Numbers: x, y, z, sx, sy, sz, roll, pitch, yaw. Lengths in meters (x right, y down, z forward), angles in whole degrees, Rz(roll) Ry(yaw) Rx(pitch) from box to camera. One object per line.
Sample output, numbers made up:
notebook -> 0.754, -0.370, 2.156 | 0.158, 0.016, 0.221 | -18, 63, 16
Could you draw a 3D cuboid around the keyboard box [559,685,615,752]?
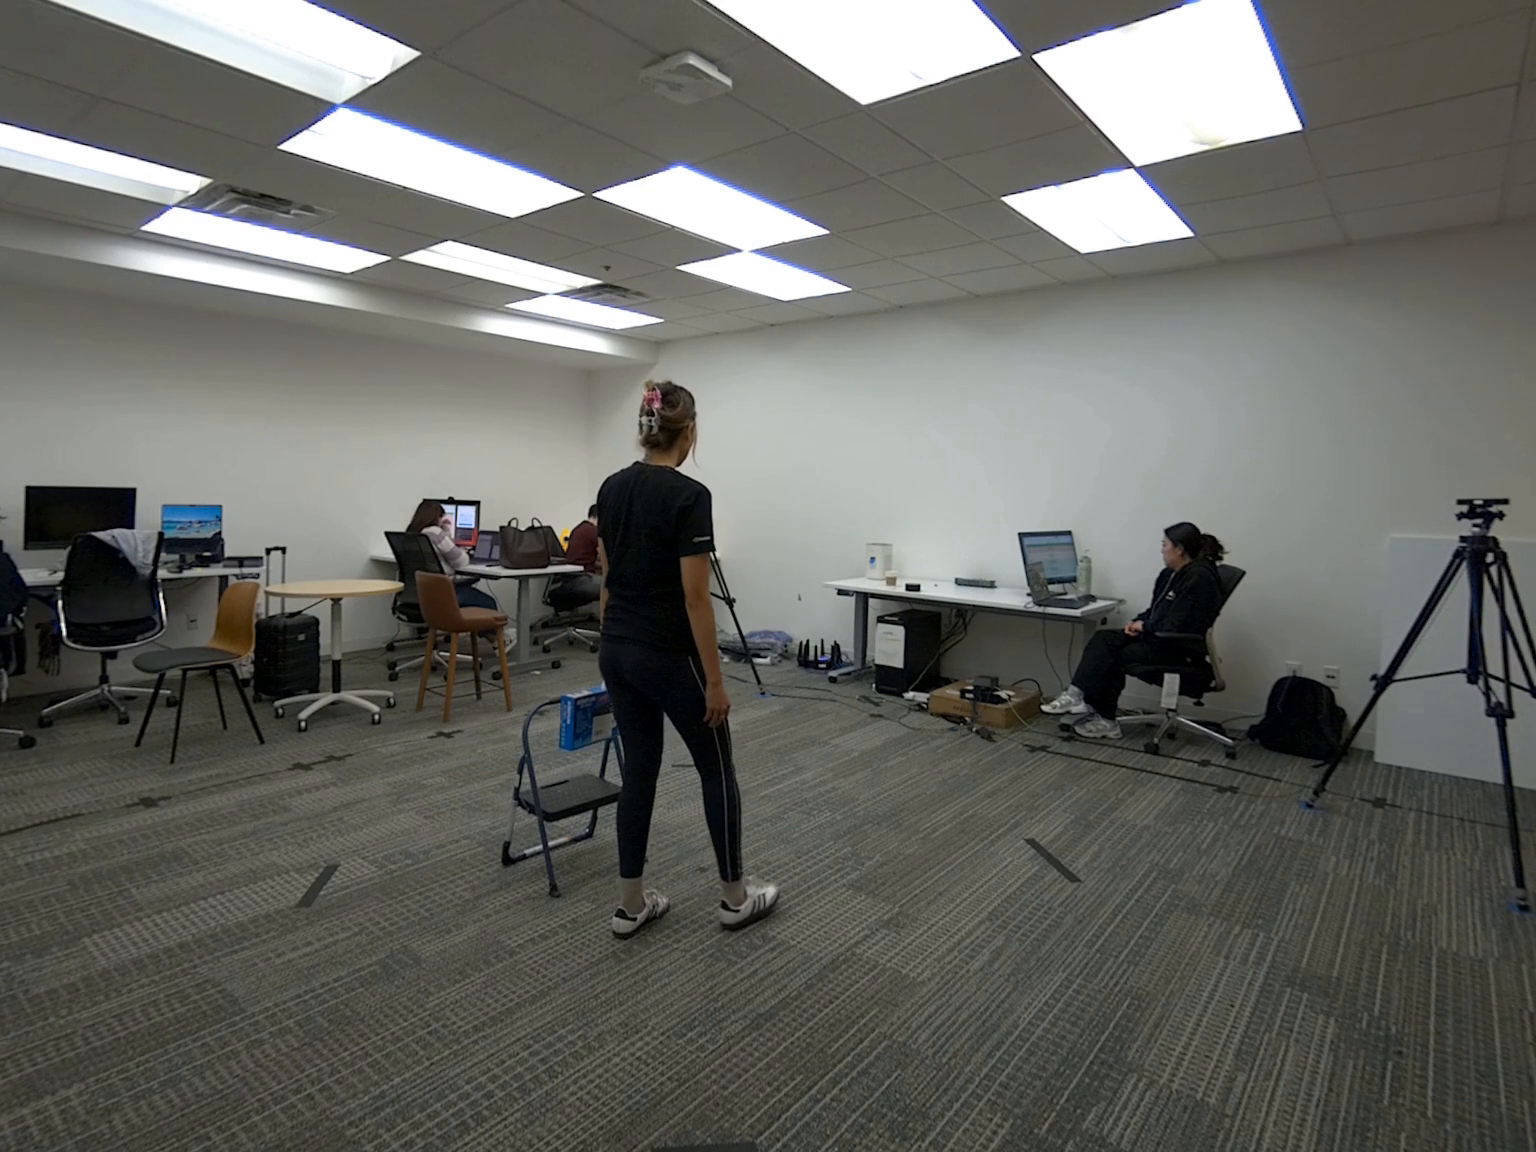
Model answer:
keyboard box -> -0.545, 0.459, 2.894 | 0.061, 0.175, 0.425 | 6, 6, 30
